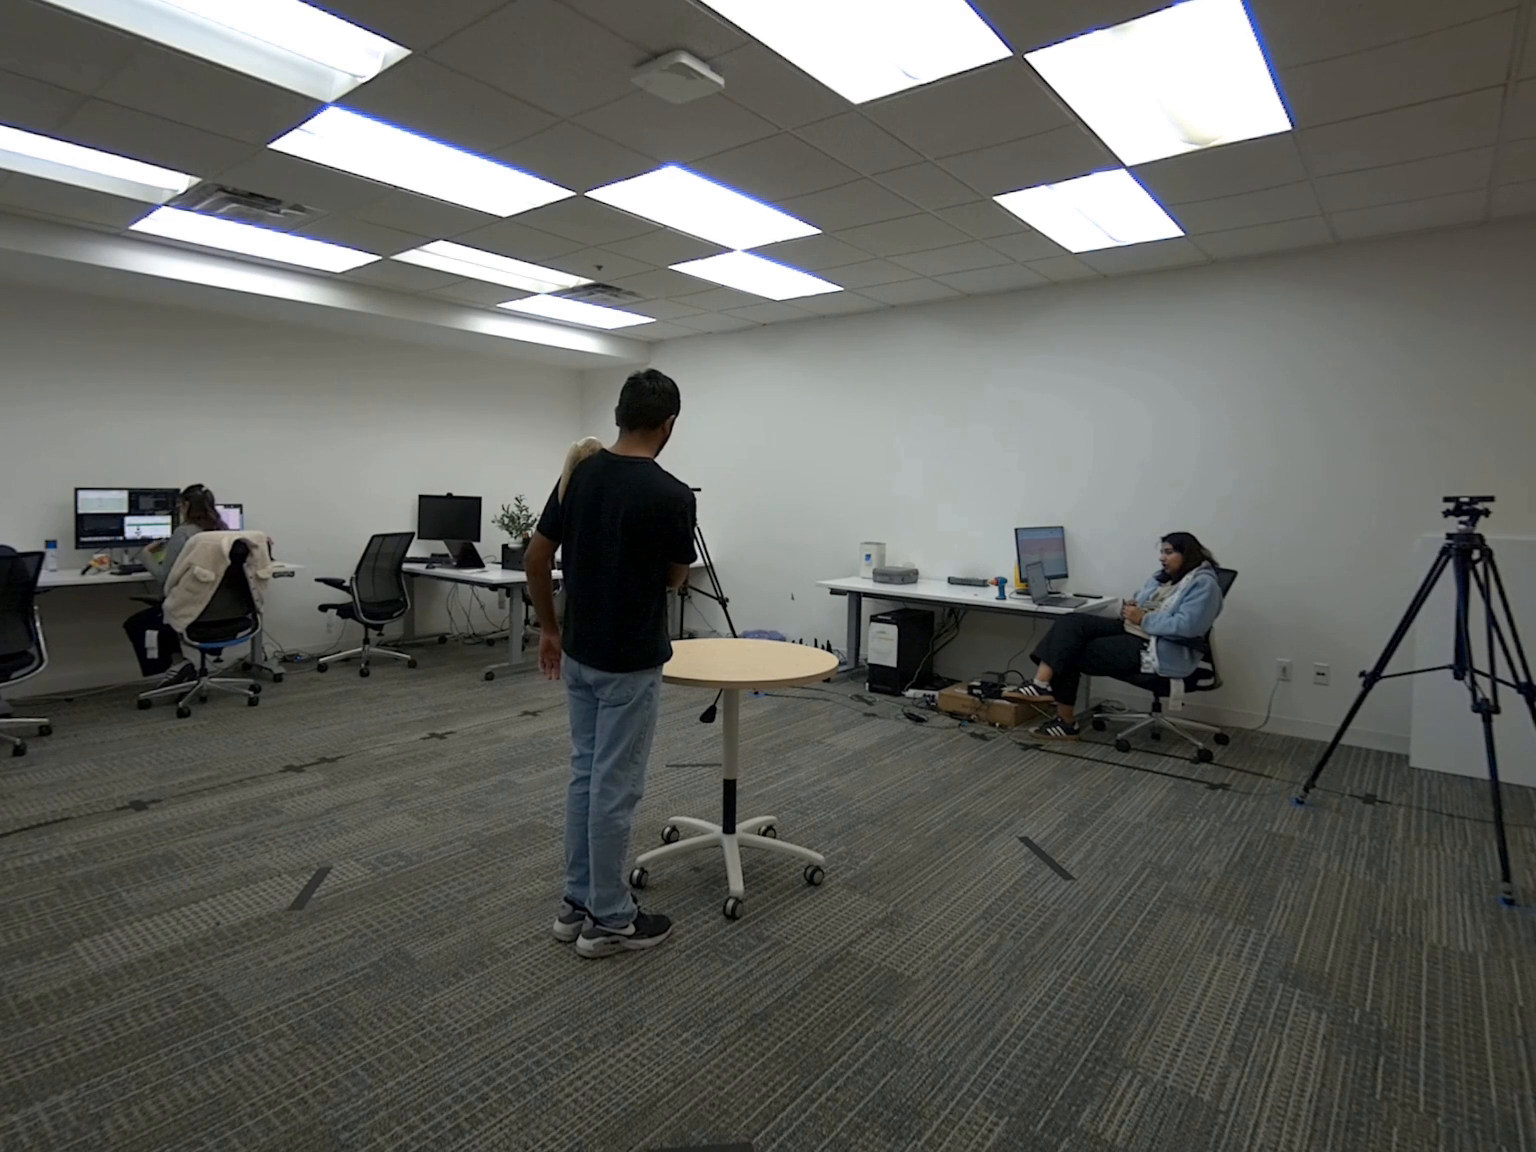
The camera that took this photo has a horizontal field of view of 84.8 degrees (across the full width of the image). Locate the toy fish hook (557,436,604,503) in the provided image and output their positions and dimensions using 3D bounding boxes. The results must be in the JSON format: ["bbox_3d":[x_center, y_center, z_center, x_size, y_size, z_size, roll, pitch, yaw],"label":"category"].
[{"bbox_3d":[-0.575,-0.177,2.619,0.050,0.497,0.222,14,24,23],"label":"toy fish hook"}]
